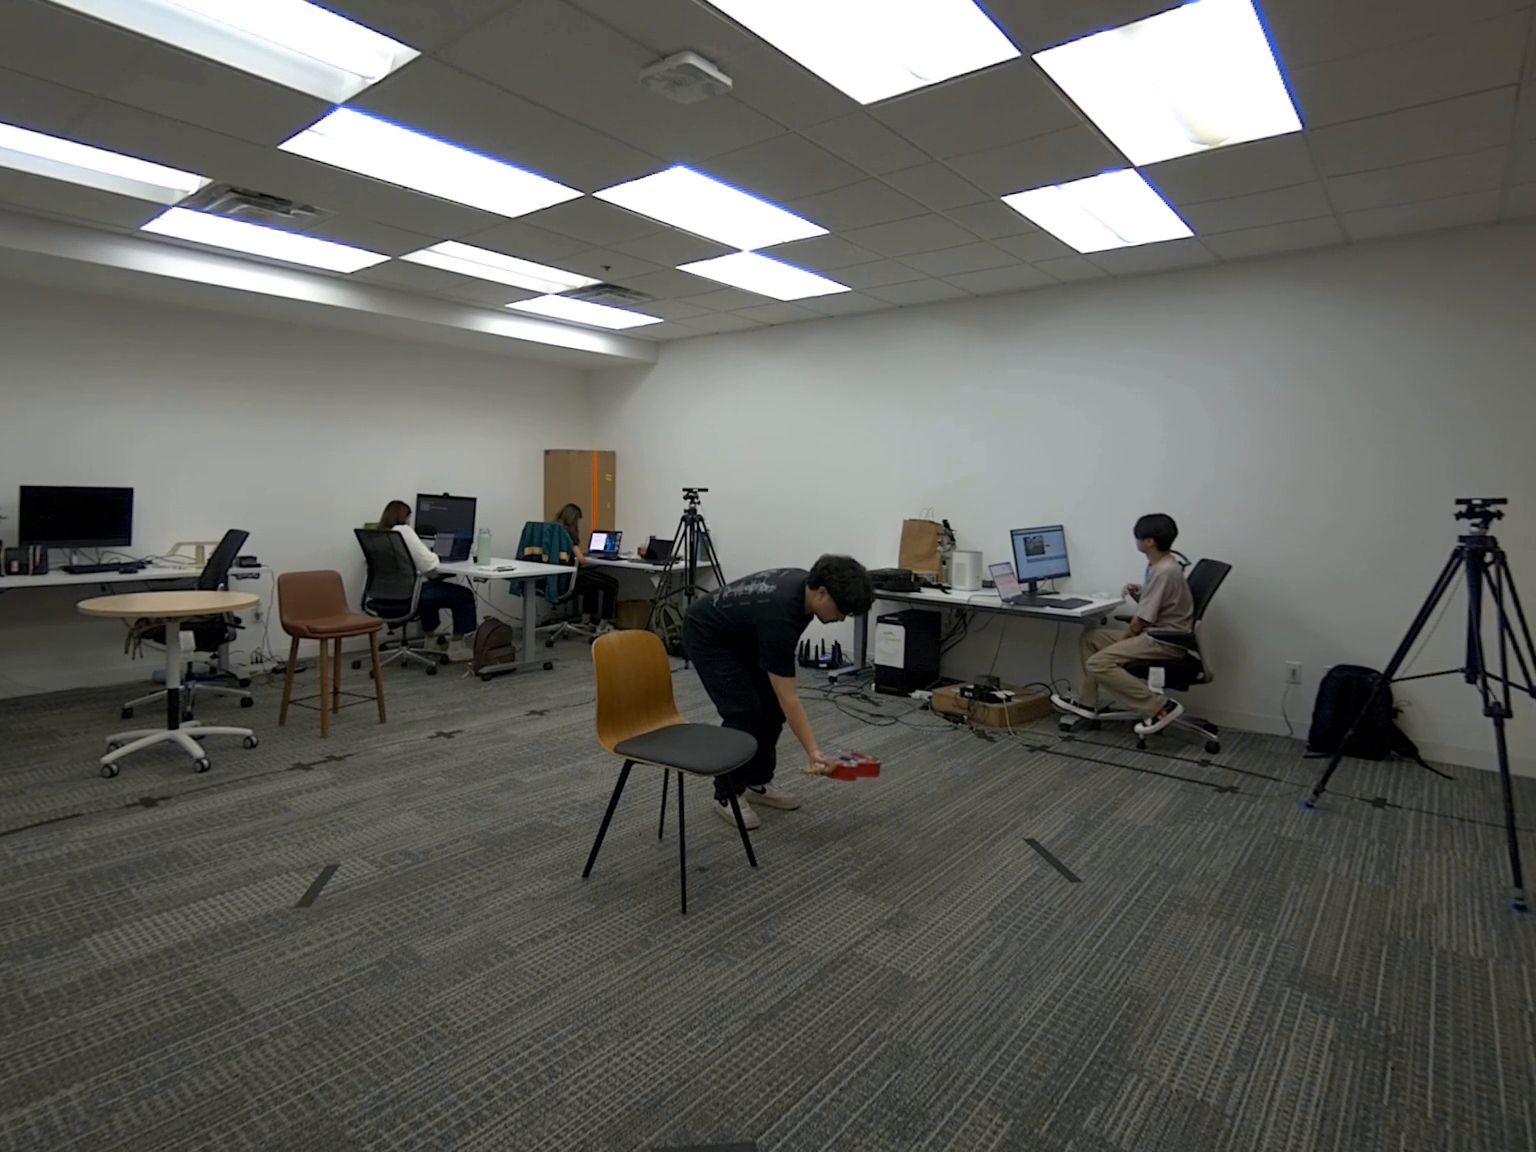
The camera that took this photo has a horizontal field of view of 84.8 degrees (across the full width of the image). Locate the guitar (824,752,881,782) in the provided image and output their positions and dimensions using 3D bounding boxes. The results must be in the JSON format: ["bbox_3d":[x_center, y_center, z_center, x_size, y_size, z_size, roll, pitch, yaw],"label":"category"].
[{"bbox_3d":[0.236,0.753,3.357,0.481,0.070,0.200,5,5,-44],"label":"guitar"}]
